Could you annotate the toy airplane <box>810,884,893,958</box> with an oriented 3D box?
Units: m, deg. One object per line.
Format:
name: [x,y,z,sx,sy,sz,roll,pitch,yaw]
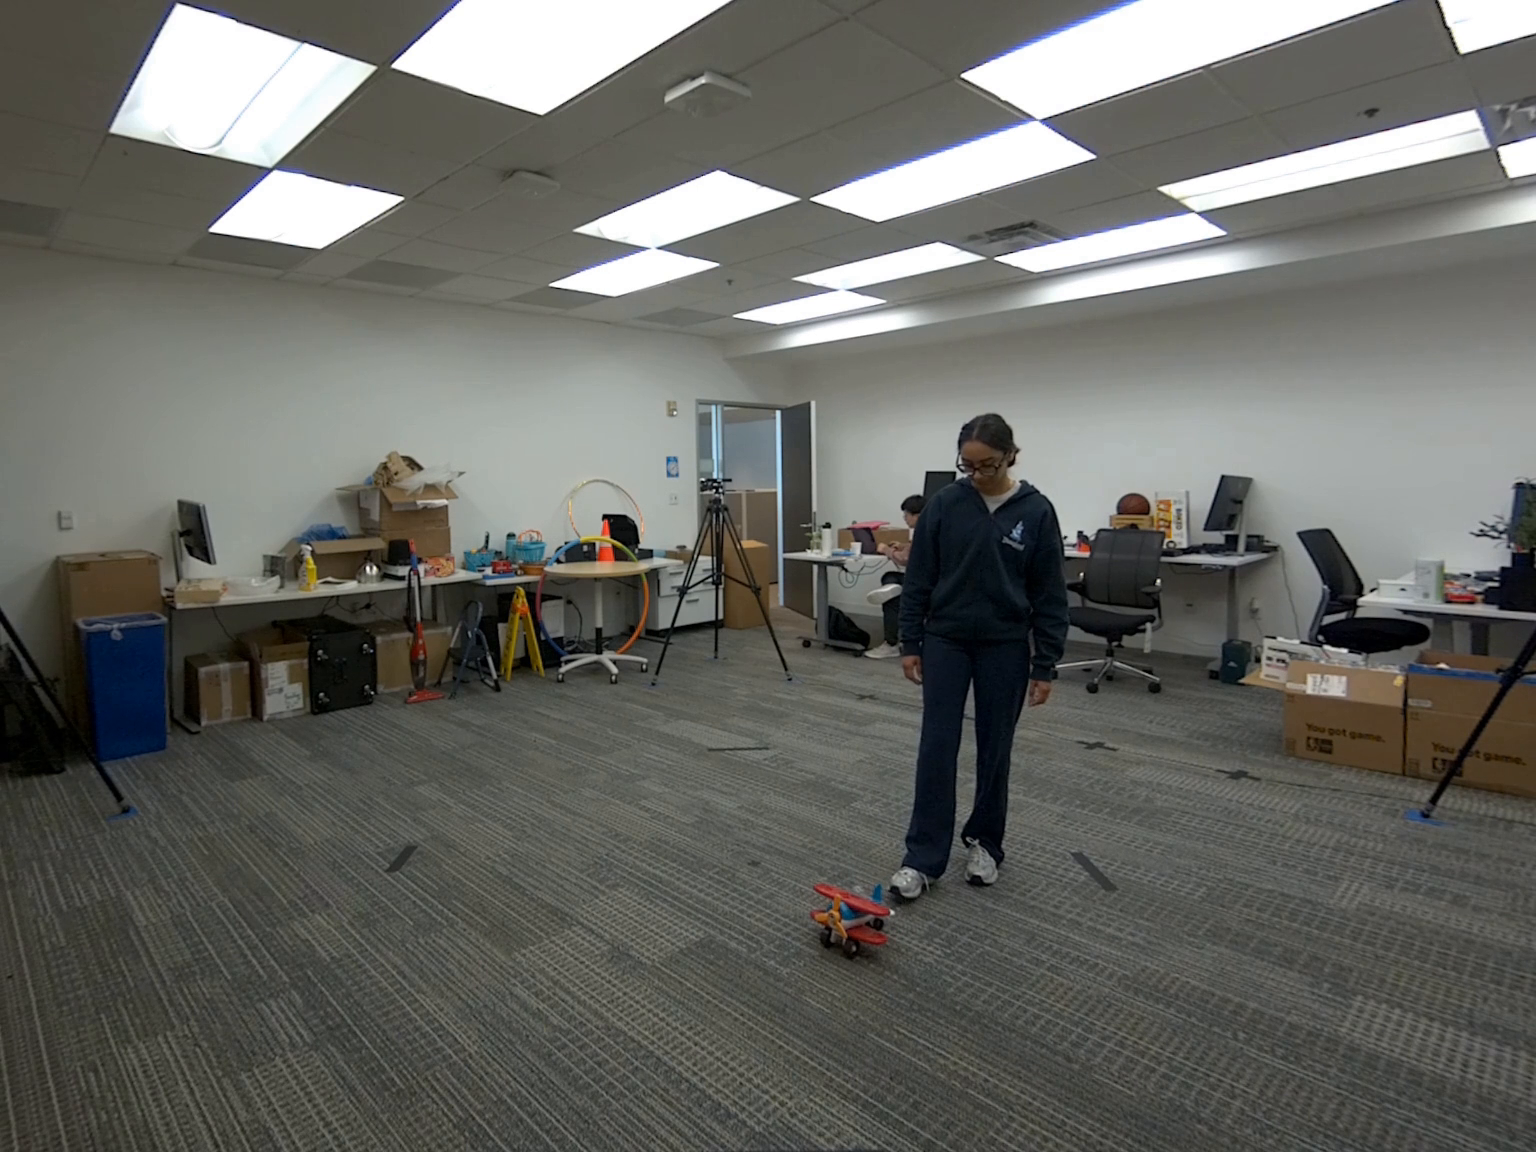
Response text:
toy airplane: [0.254,1.023,2.589,0.255,0.155,0.257,1,7,14]
